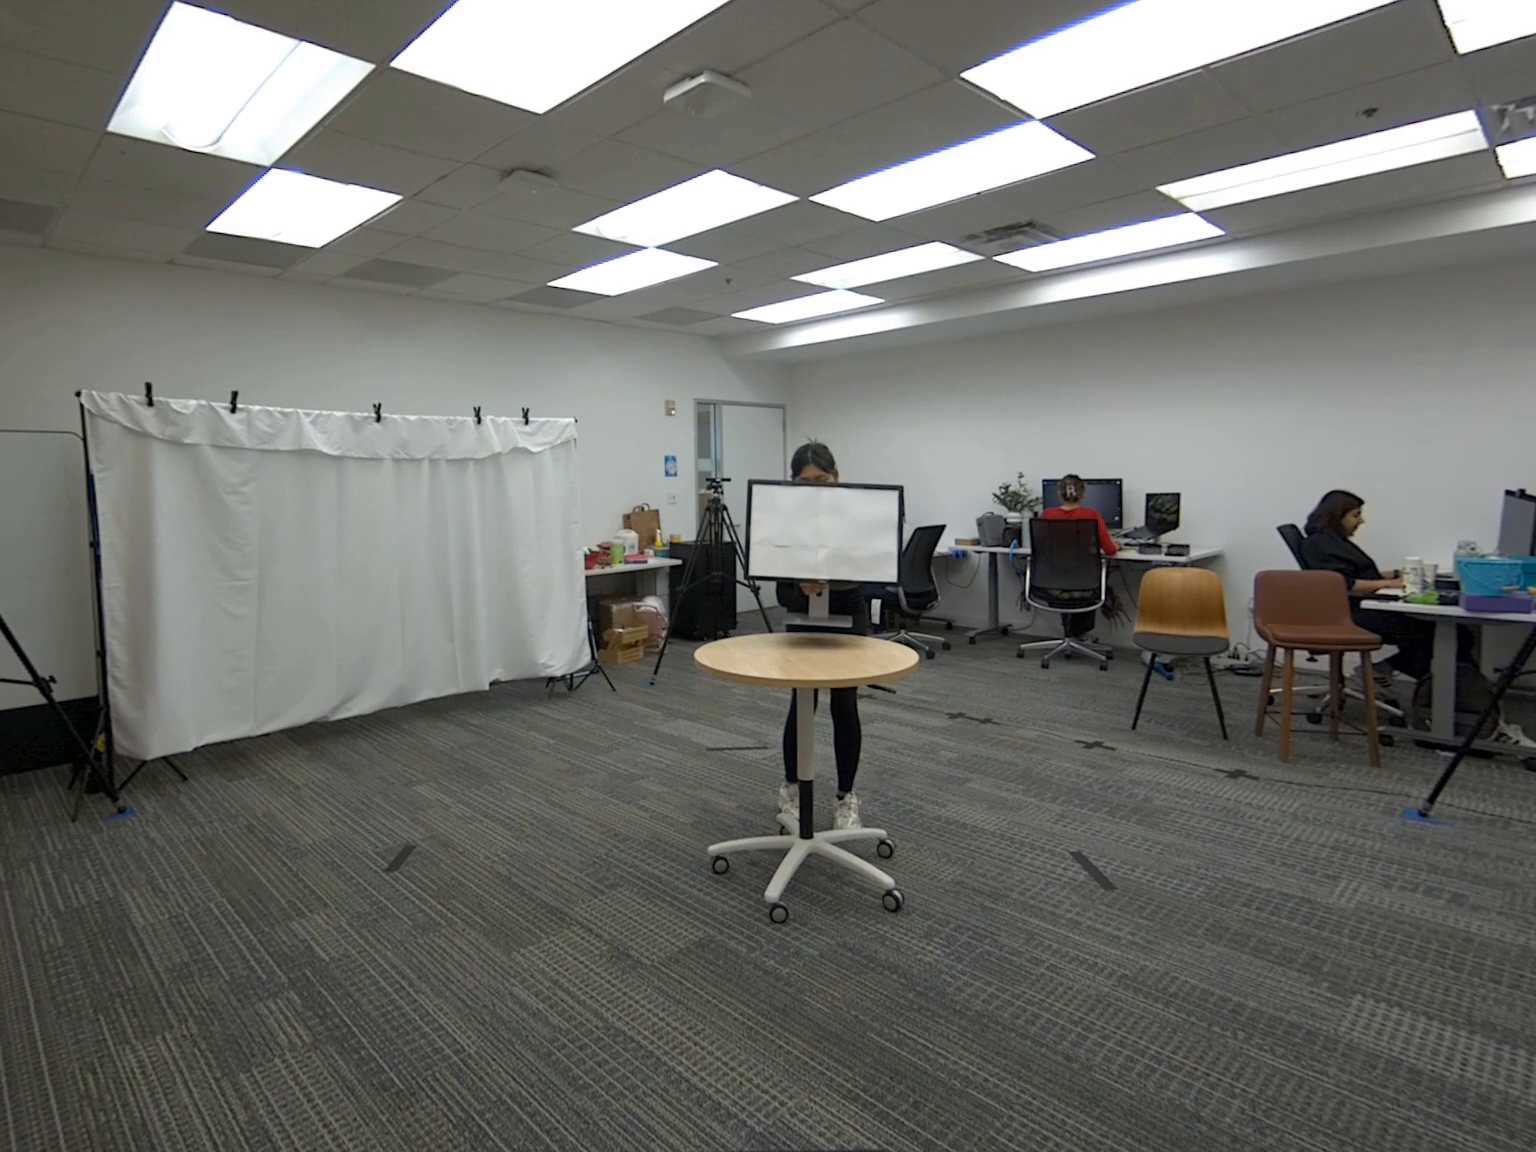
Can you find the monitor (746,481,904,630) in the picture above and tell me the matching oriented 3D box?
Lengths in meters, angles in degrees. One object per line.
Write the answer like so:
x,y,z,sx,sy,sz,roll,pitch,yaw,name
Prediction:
0.183,-0.074,3.094,0.539,0.520,0.188,3,6,0,monitor
